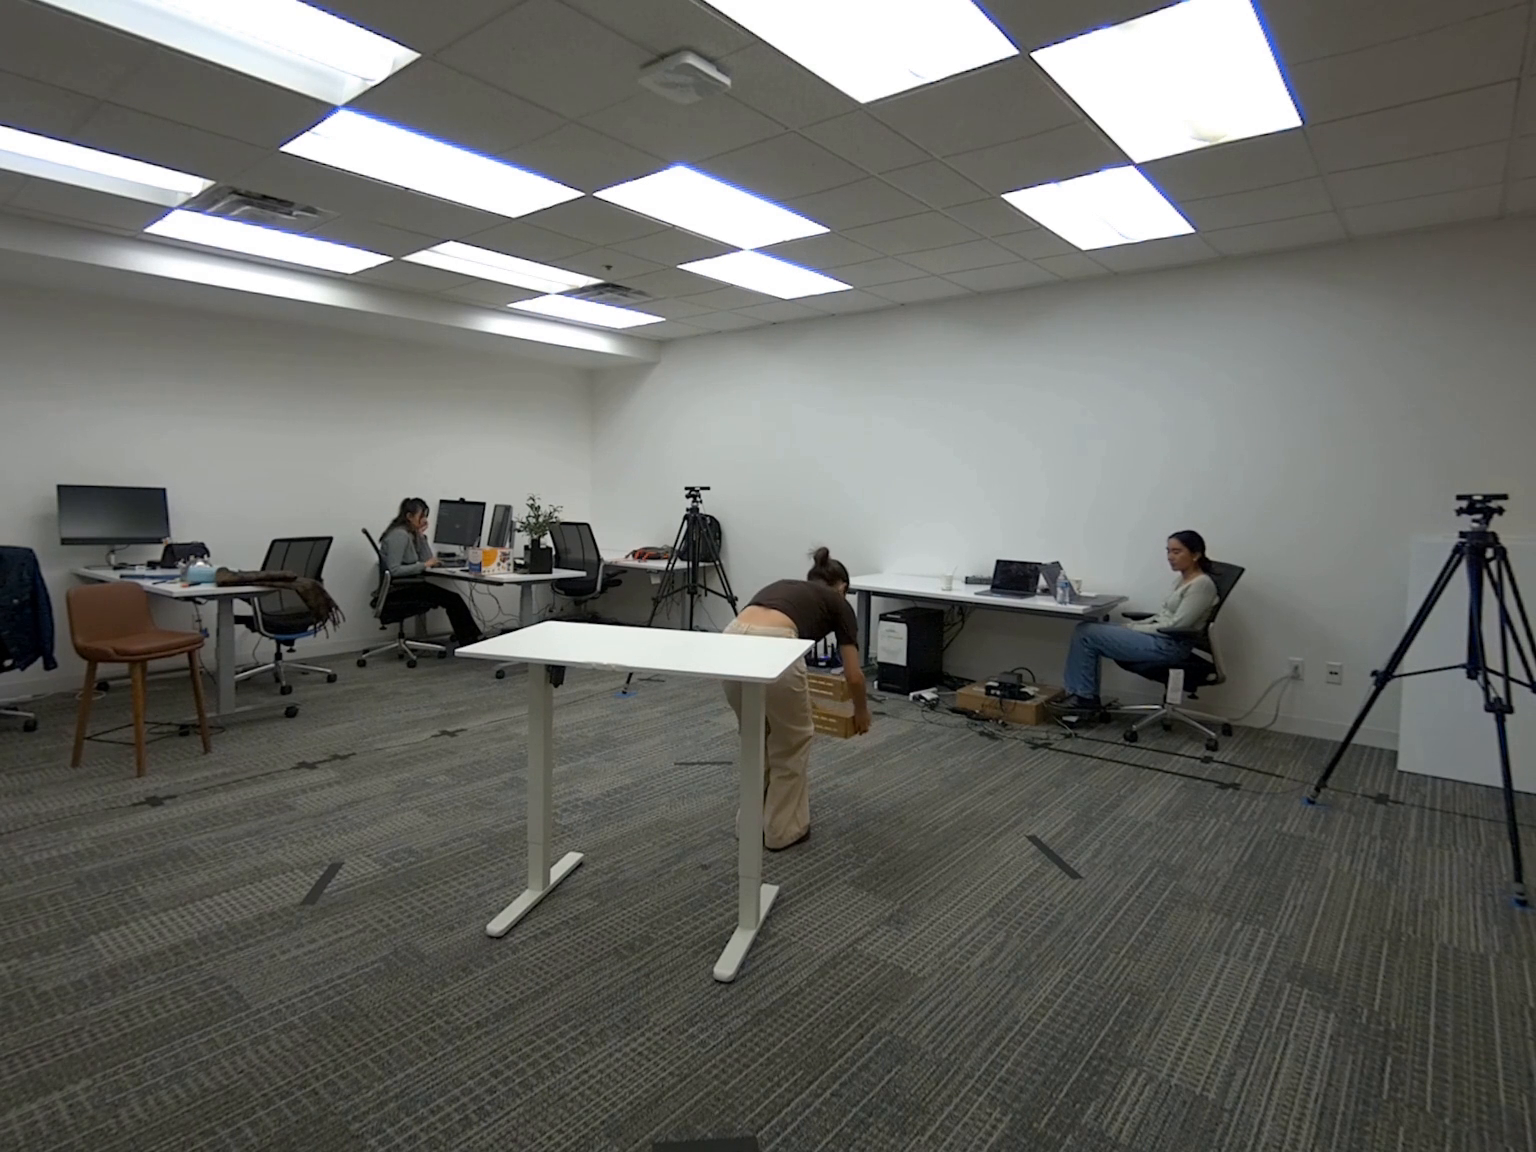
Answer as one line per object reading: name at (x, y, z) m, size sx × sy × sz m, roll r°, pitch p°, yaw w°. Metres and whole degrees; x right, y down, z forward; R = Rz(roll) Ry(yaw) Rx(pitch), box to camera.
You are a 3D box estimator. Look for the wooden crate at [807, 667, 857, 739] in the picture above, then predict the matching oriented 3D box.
wooden crate at (0.252, 0.523, 3.700) m, size 0.335 × 0.272 × 0.294 m, roll 6°, pitch 7°, yaw 33°
